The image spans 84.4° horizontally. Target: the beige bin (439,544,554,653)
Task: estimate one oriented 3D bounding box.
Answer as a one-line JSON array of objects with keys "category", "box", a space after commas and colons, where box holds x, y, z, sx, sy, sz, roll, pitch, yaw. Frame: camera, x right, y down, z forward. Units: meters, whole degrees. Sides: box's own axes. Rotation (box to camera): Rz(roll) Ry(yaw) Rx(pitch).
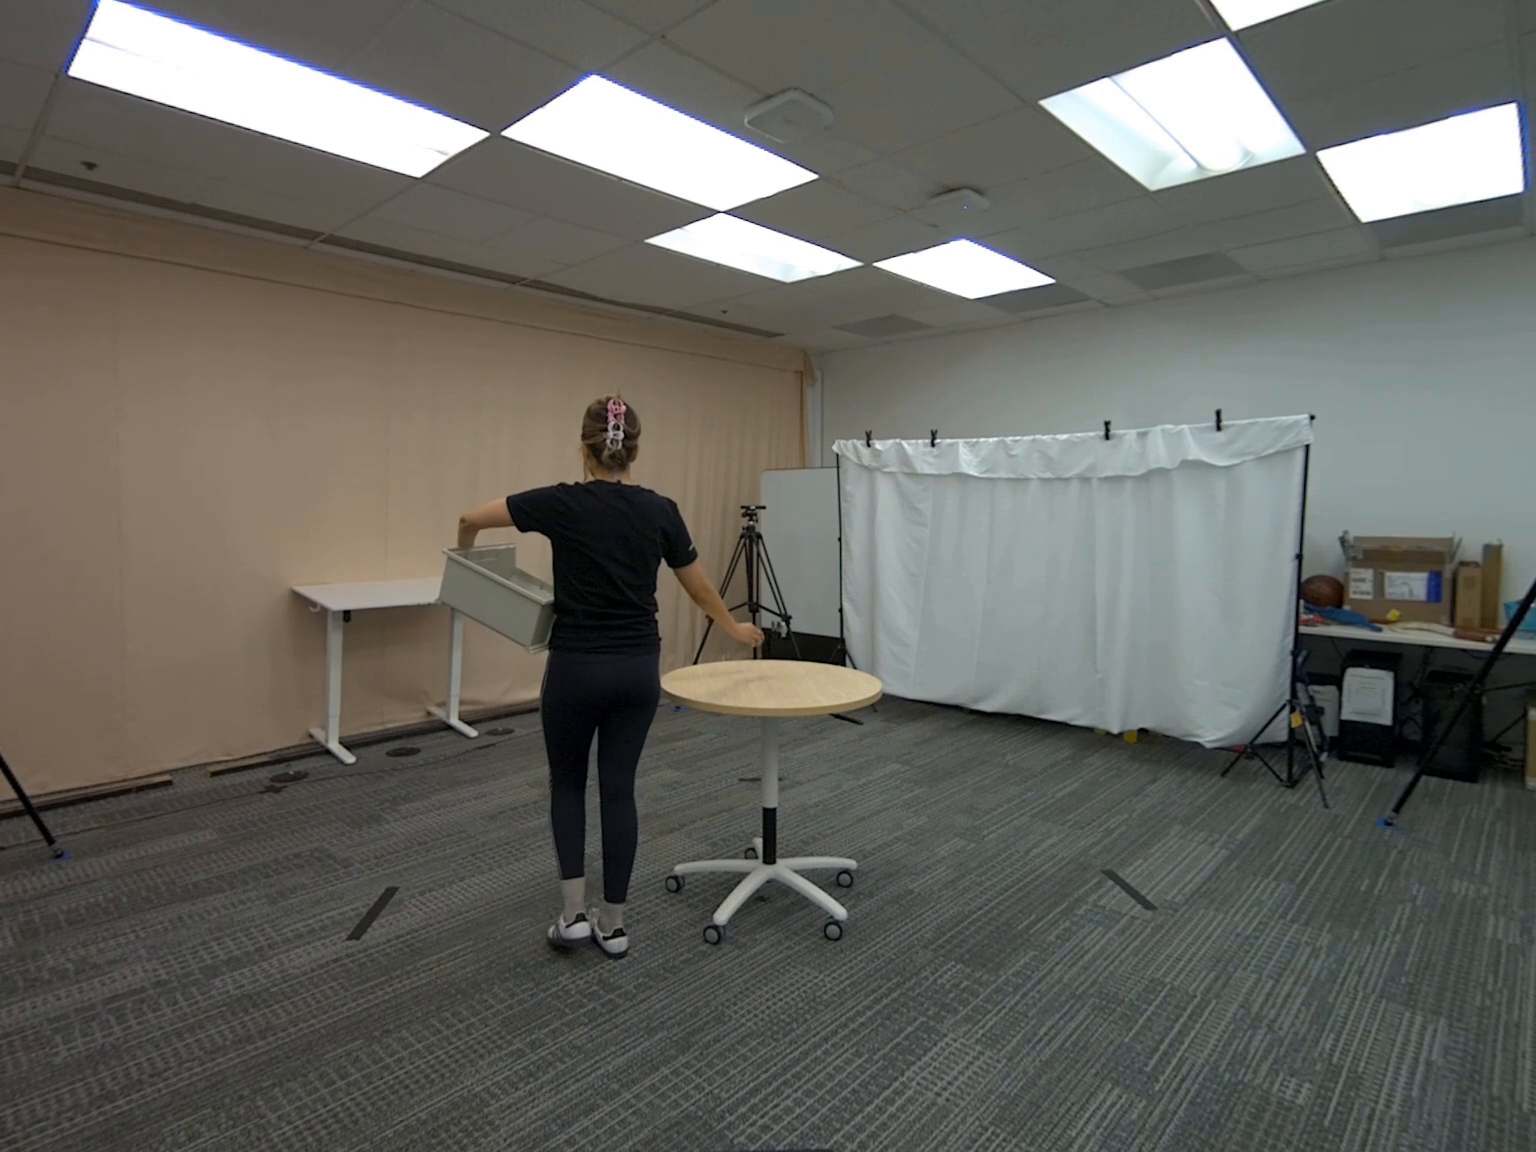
[{"category": "beige bin", "box": [-0.793, 0.063, 2.749, 0.433, 0.188, 0.369, 23, 14, 20]}]
